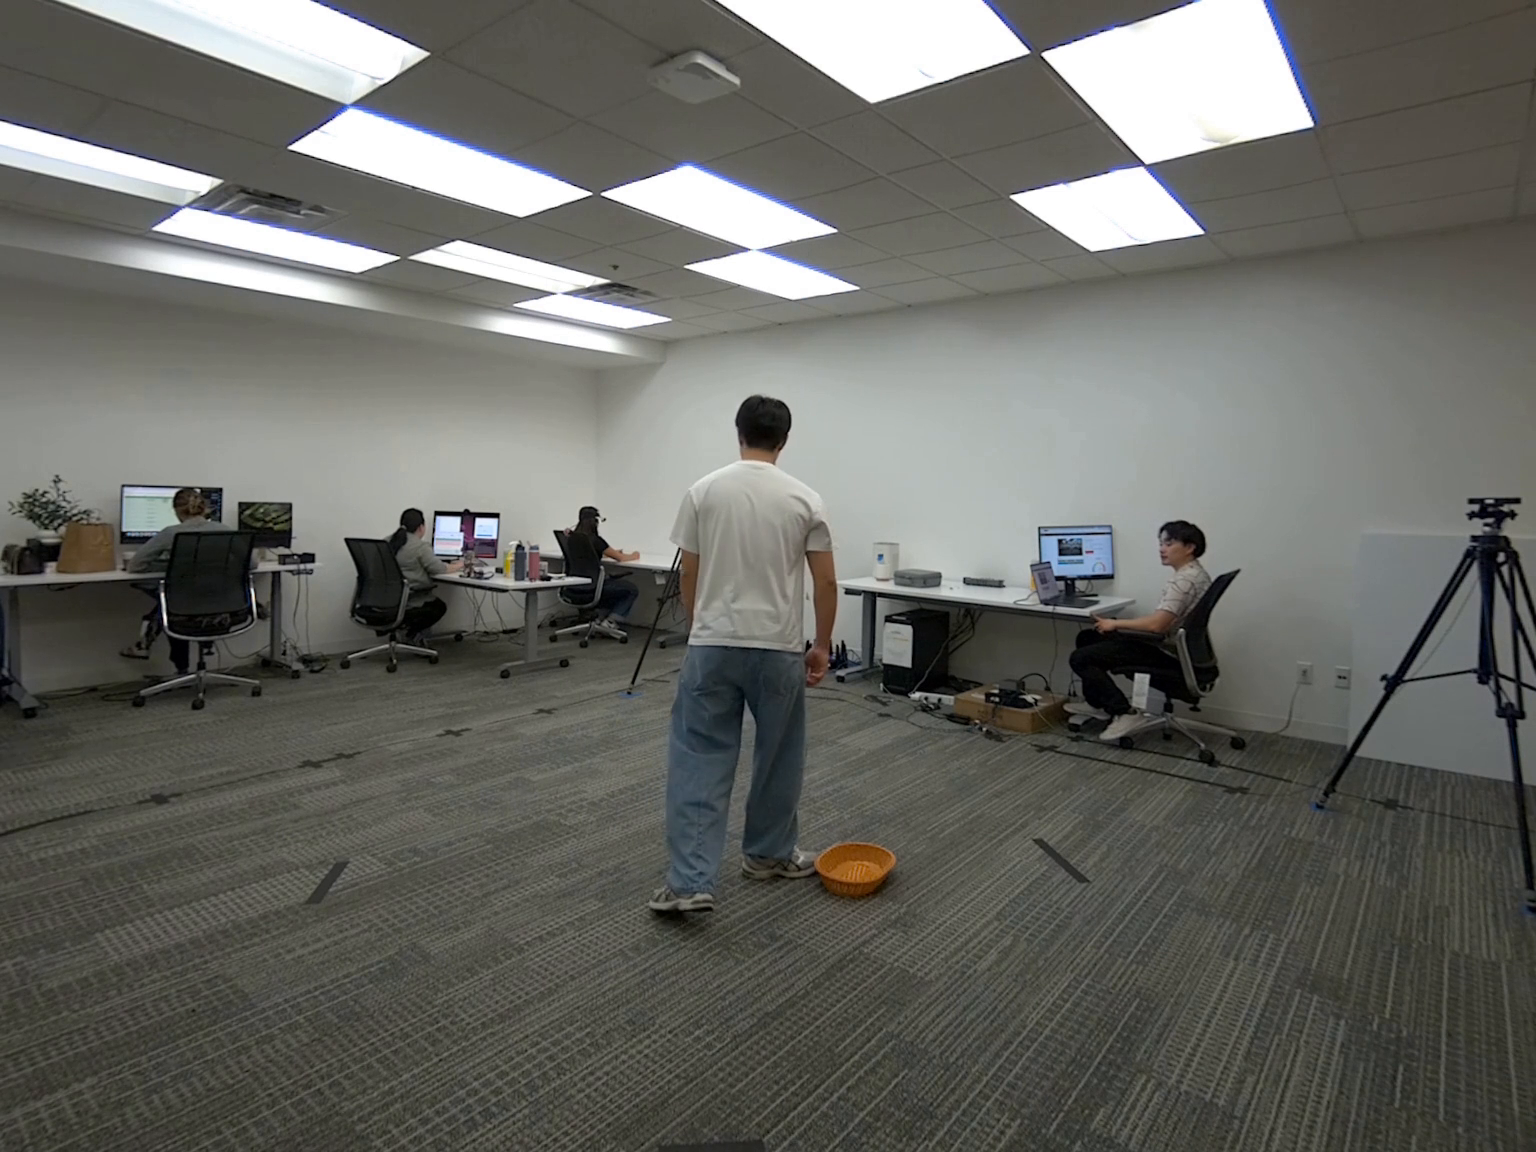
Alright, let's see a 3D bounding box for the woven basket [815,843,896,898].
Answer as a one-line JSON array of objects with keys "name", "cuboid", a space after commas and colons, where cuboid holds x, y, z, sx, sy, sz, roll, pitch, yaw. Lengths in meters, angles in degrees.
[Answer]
[{"name": "woven basket", "cuboid": [0.304, 1.050, 3.044, 0.260, 0.073, 0.341, 5, 7, 33]}]
